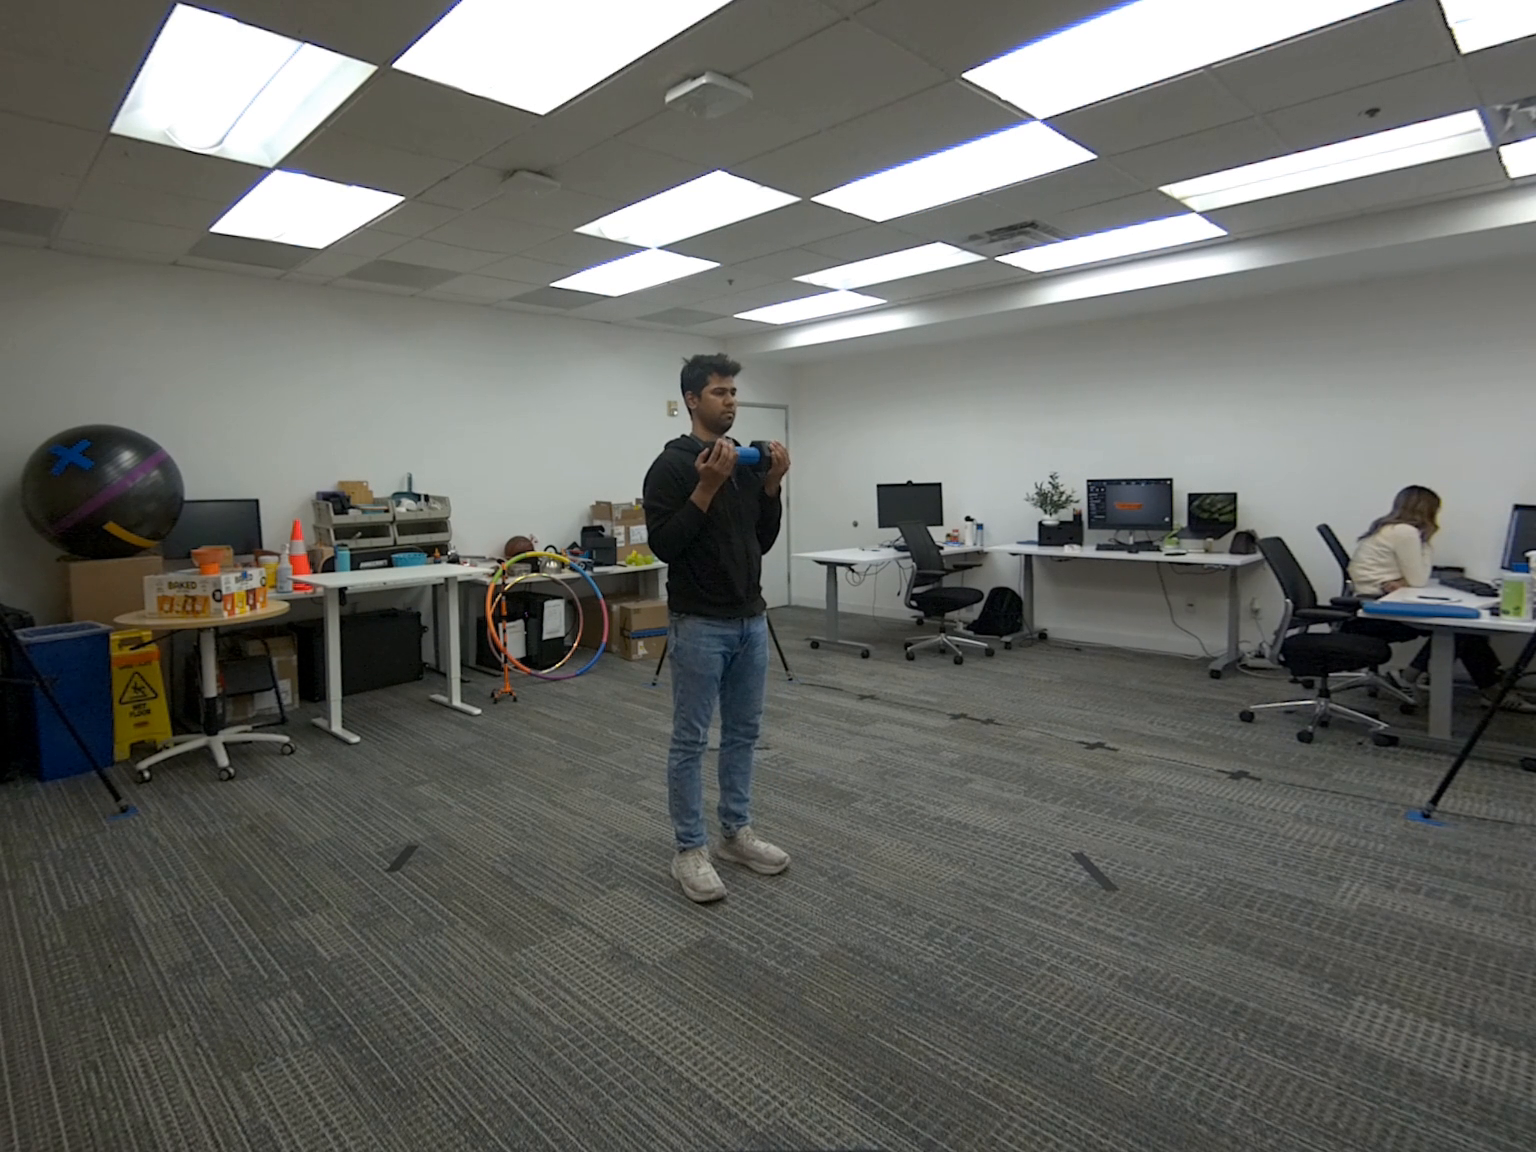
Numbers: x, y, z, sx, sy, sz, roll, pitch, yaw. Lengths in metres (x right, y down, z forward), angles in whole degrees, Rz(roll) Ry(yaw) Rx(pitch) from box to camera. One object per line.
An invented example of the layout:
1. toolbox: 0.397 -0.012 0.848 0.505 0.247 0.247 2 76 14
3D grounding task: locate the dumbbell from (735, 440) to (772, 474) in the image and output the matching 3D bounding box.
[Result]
1. dumbbell: -0.090 -0.389 2.863 0.286 0.108 0.127 -5 8 -41
